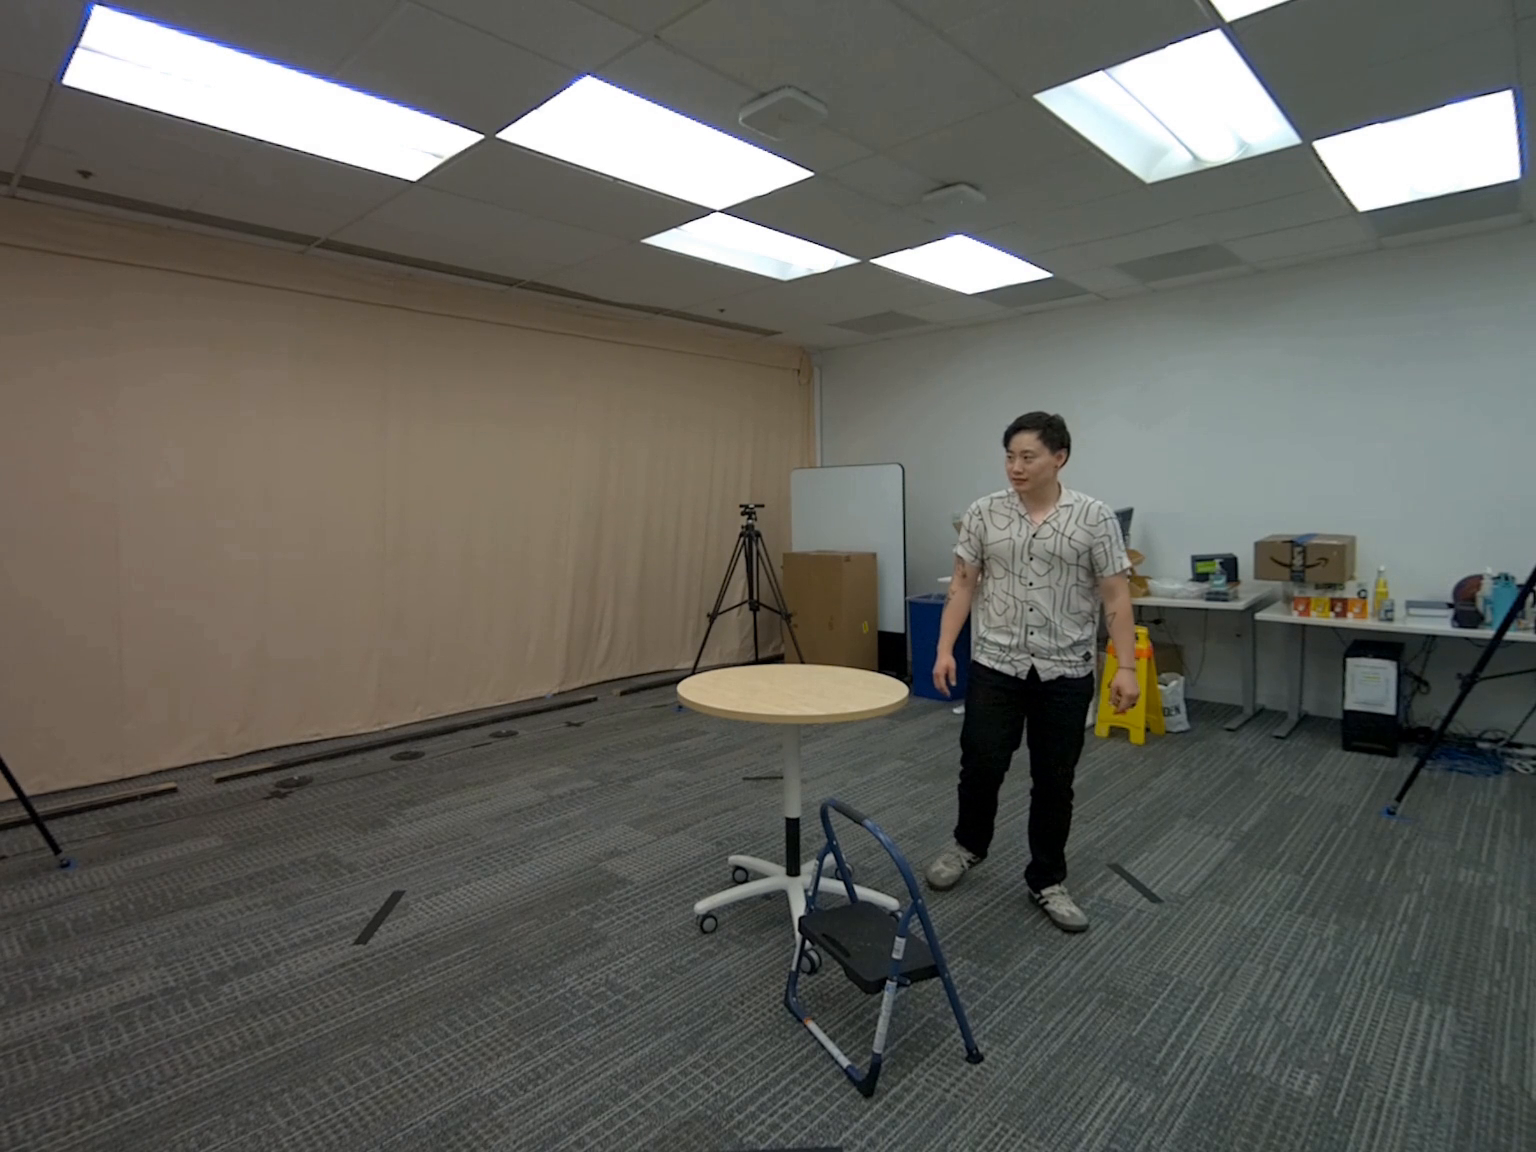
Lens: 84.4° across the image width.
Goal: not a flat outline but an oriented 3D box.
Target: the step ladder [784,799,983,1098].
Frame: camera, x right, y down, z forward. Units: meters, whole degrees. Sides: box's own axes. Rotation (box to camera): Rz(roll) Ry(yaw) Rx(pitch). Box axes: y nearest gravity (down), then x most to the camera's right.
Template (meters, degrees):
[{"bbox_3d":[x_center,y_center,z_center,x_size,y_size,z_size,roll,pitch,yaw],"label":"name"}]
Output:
[{"bbox_3d":[0.290,0.903,2.202,0.341,0.604,0.442,-3,5,-27],"label":"step ladder"}]
